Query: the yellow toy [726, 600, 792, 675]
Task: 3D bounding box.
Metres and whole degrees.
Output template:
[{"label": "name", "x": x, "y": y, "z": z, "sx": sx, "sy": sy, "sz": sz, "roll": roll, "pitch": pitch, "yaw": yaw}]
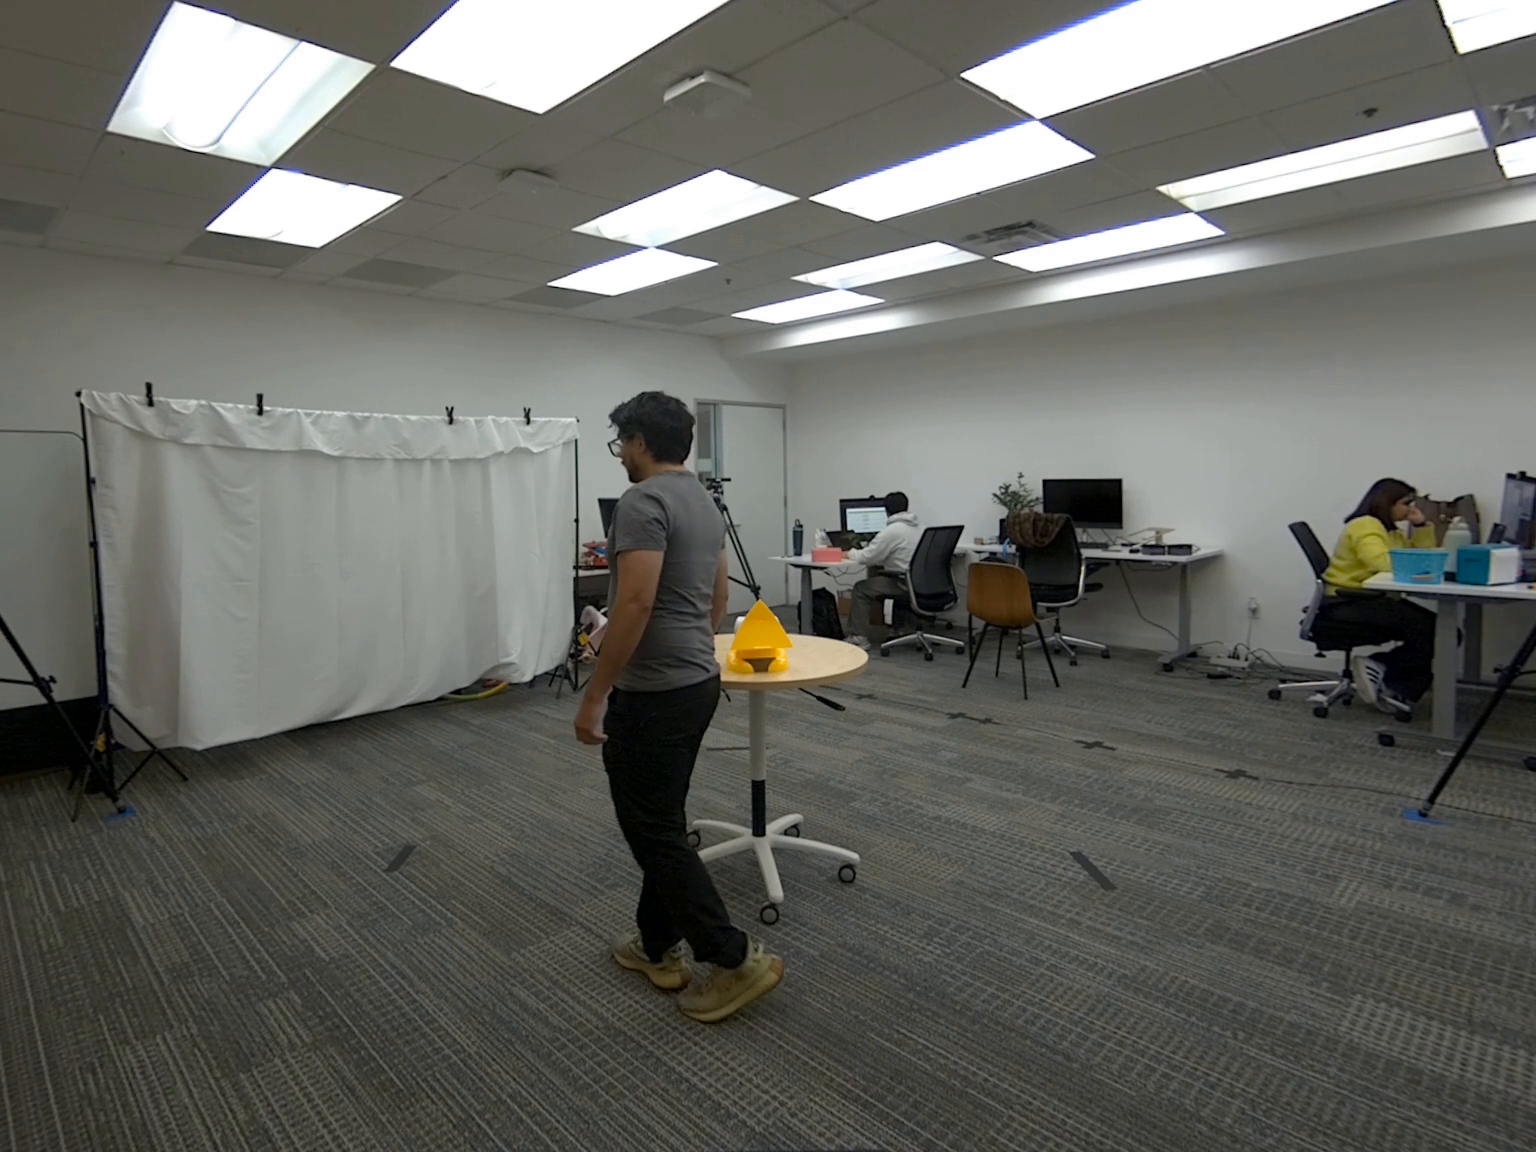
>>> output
[{"label": "yellow toy", "x": -0.031, "y": 0.183, "z": 2.773, "sx": 0.203, "sy": 0.229, "sz": 0.195, "roll": -2, "pitch": 6, "yaw": -8}]
